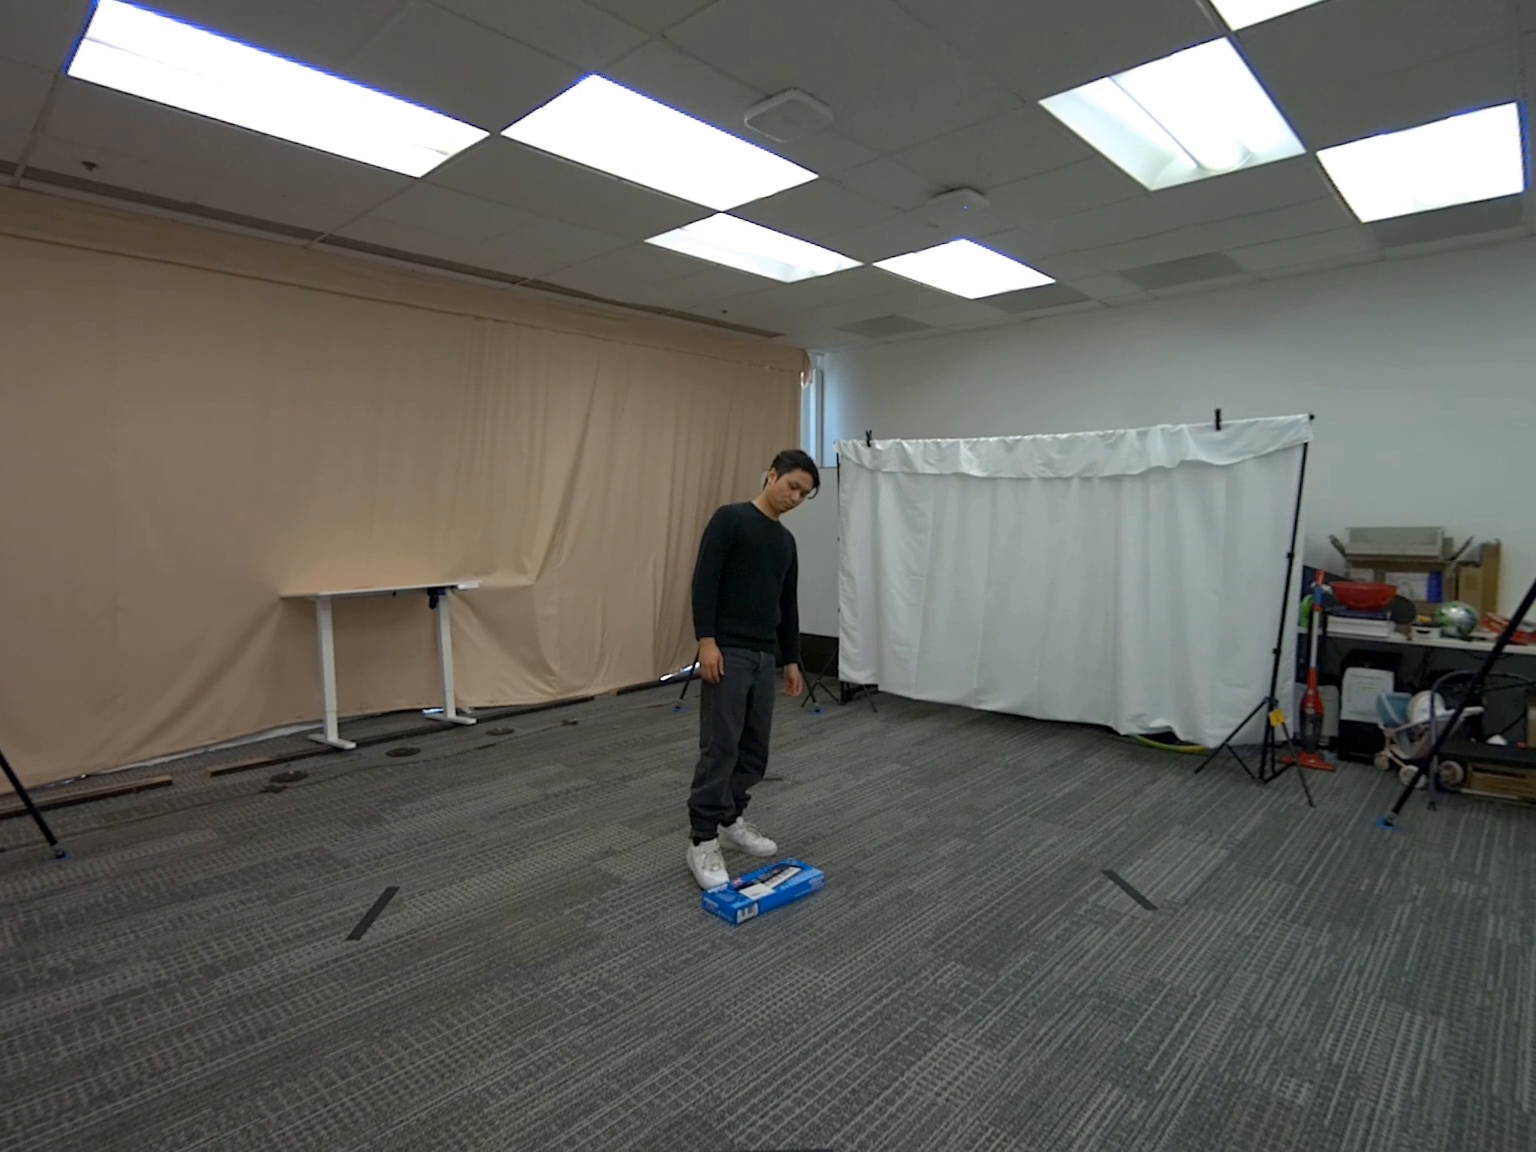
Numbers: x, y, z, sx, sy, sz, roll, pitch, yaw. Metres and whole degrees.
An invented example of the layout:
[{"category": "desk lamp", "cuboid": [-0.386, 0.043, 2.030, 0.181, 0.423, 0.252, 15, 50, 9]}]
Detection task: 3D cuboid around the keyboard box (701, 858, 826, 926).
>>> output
[{"category": "keyboard box", "cuboid": [-0.001, 1.115, 2.984, 0.424, 0.059, 0.182, -5, 7, -42]}]
